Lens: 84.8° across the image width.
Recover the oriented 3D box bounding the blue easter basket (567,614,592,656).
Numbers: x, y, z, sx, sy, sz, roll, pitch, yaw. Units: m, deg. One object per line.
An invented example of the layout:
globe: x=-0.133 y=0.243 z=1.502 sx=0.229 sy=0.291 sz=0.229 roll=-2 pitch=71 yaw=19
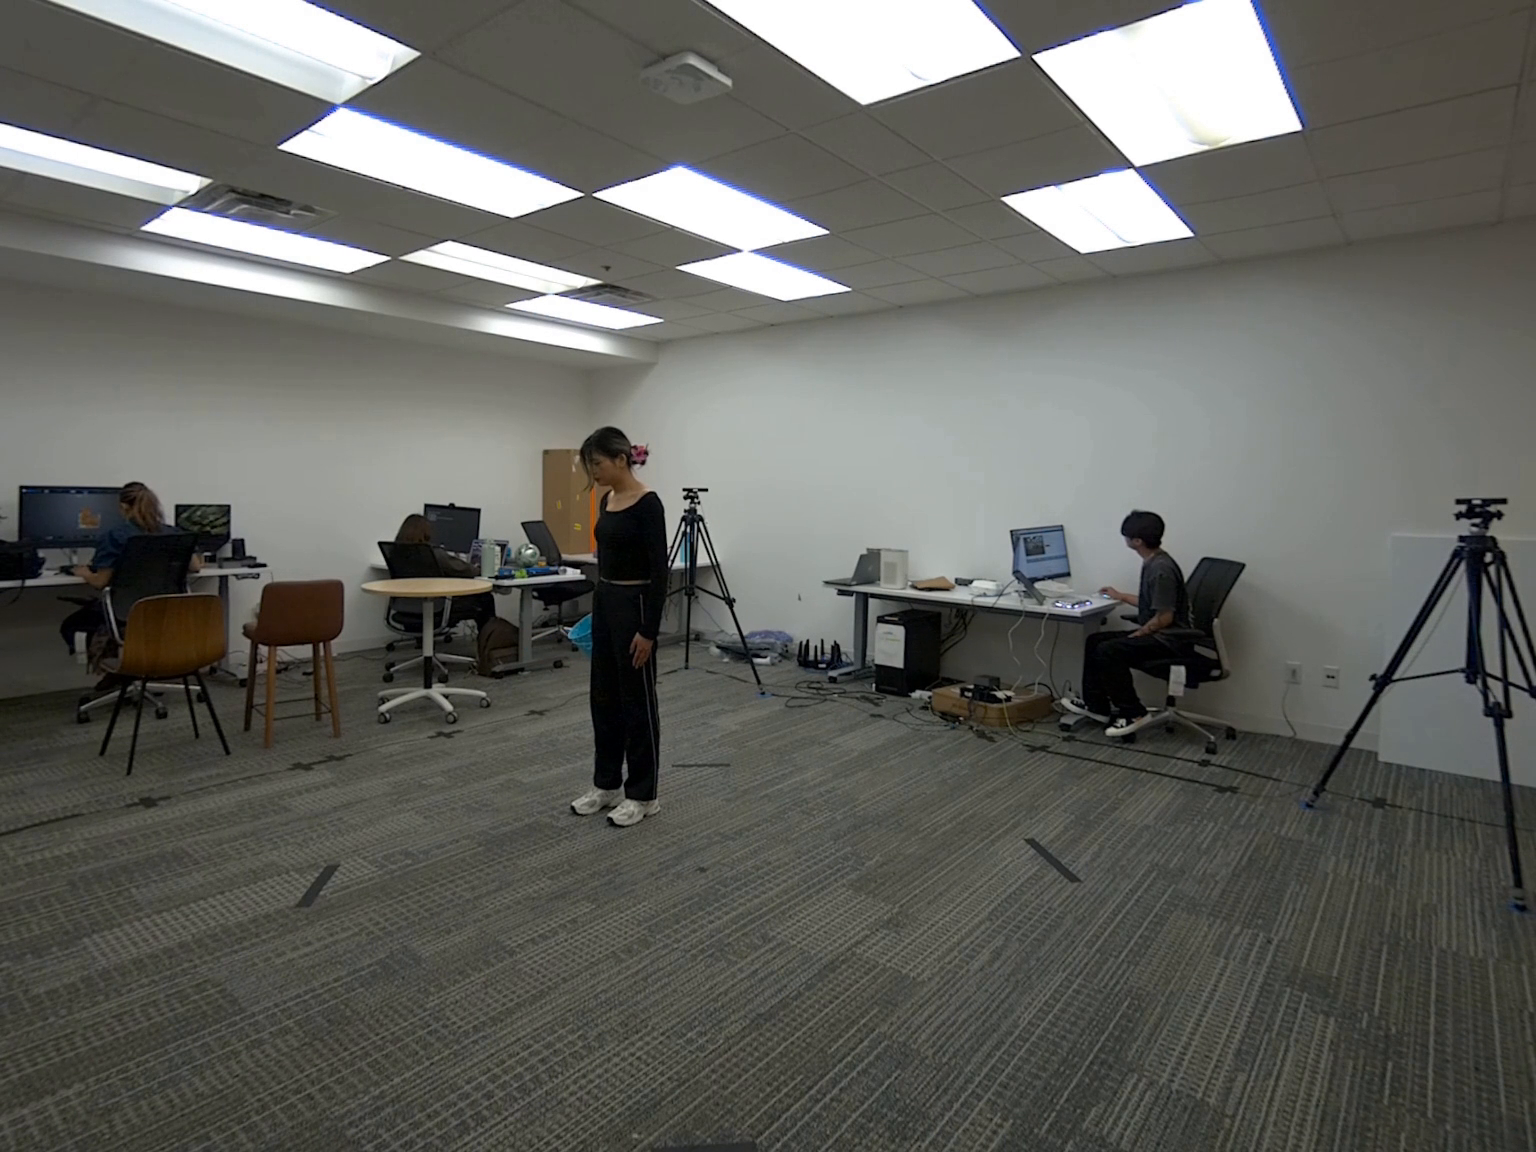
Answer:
blue easter basket: x=-0.828 y=0.283 z=3.992 sx=0.244 sy=0.152 sz=0.248 roll=-27 pitch=18 yaw=7
